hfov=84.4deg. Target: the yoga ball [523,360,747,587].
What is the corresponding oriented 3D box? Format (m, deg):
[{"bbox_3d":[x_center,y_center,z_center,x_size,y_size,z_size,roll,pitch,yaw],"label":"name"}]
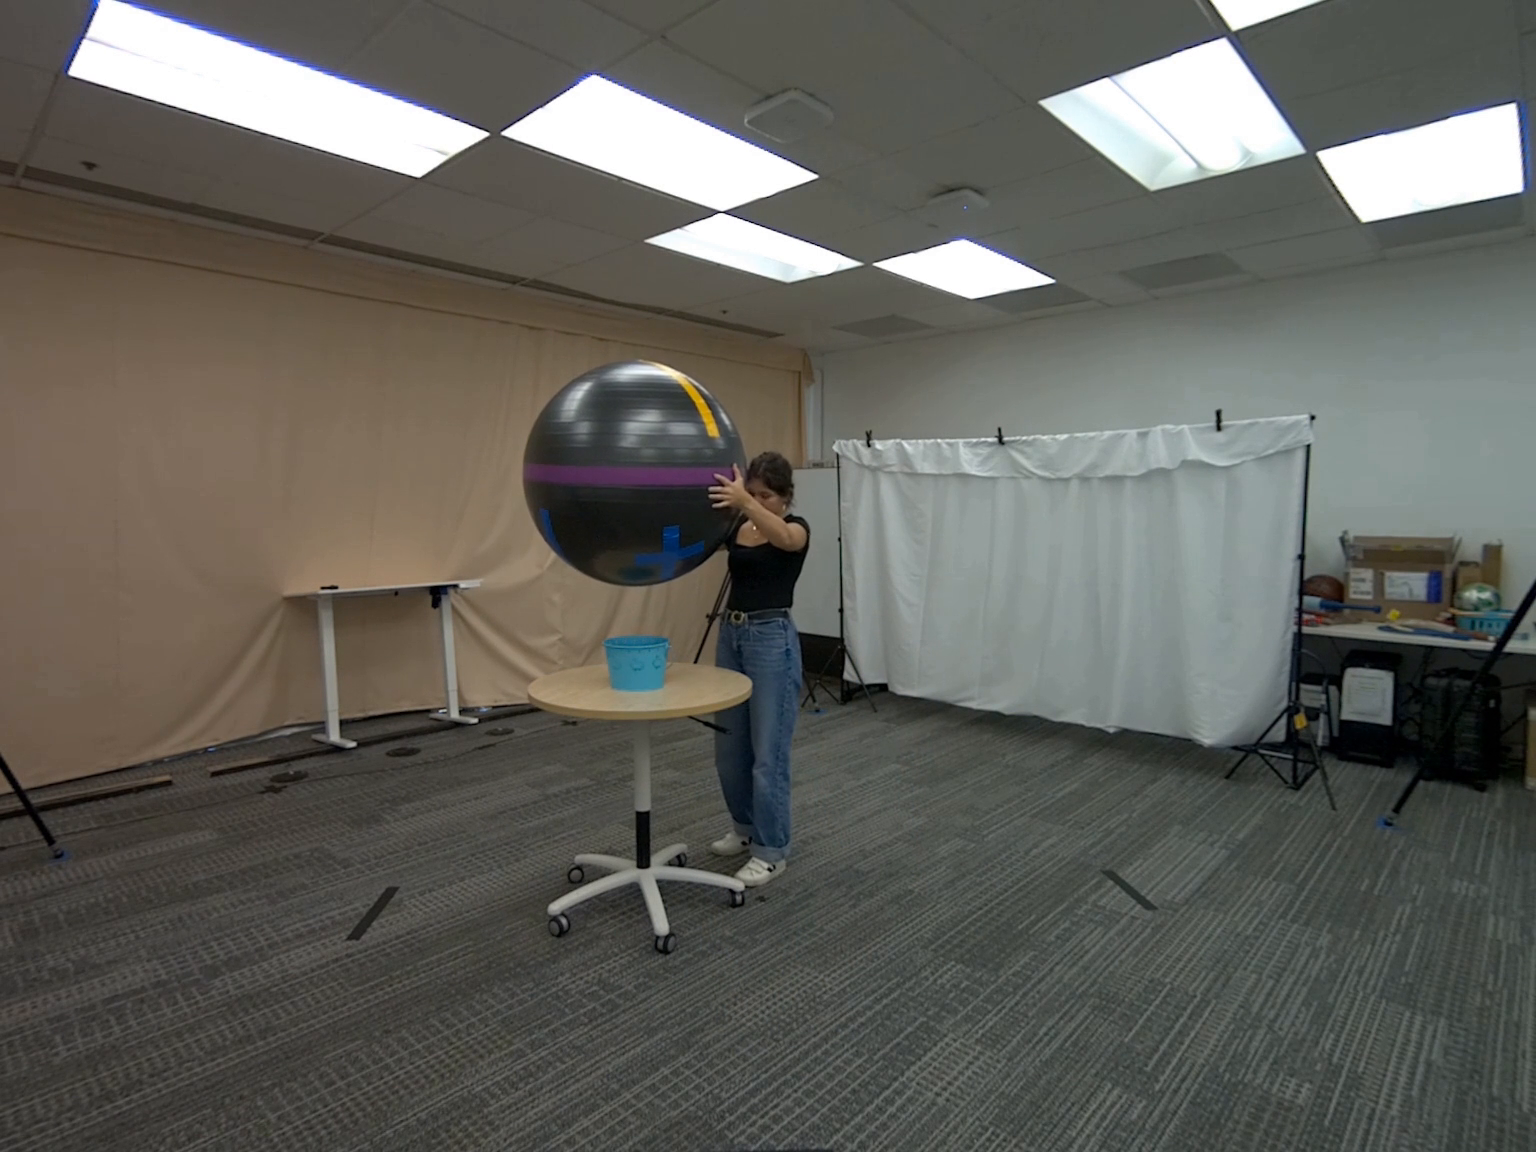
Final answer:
[{"bbox_3d":[-0.469,-0.340,2.872,0.757,0.756,0.760,0,4,-2],"label":"yoga ball"}]
